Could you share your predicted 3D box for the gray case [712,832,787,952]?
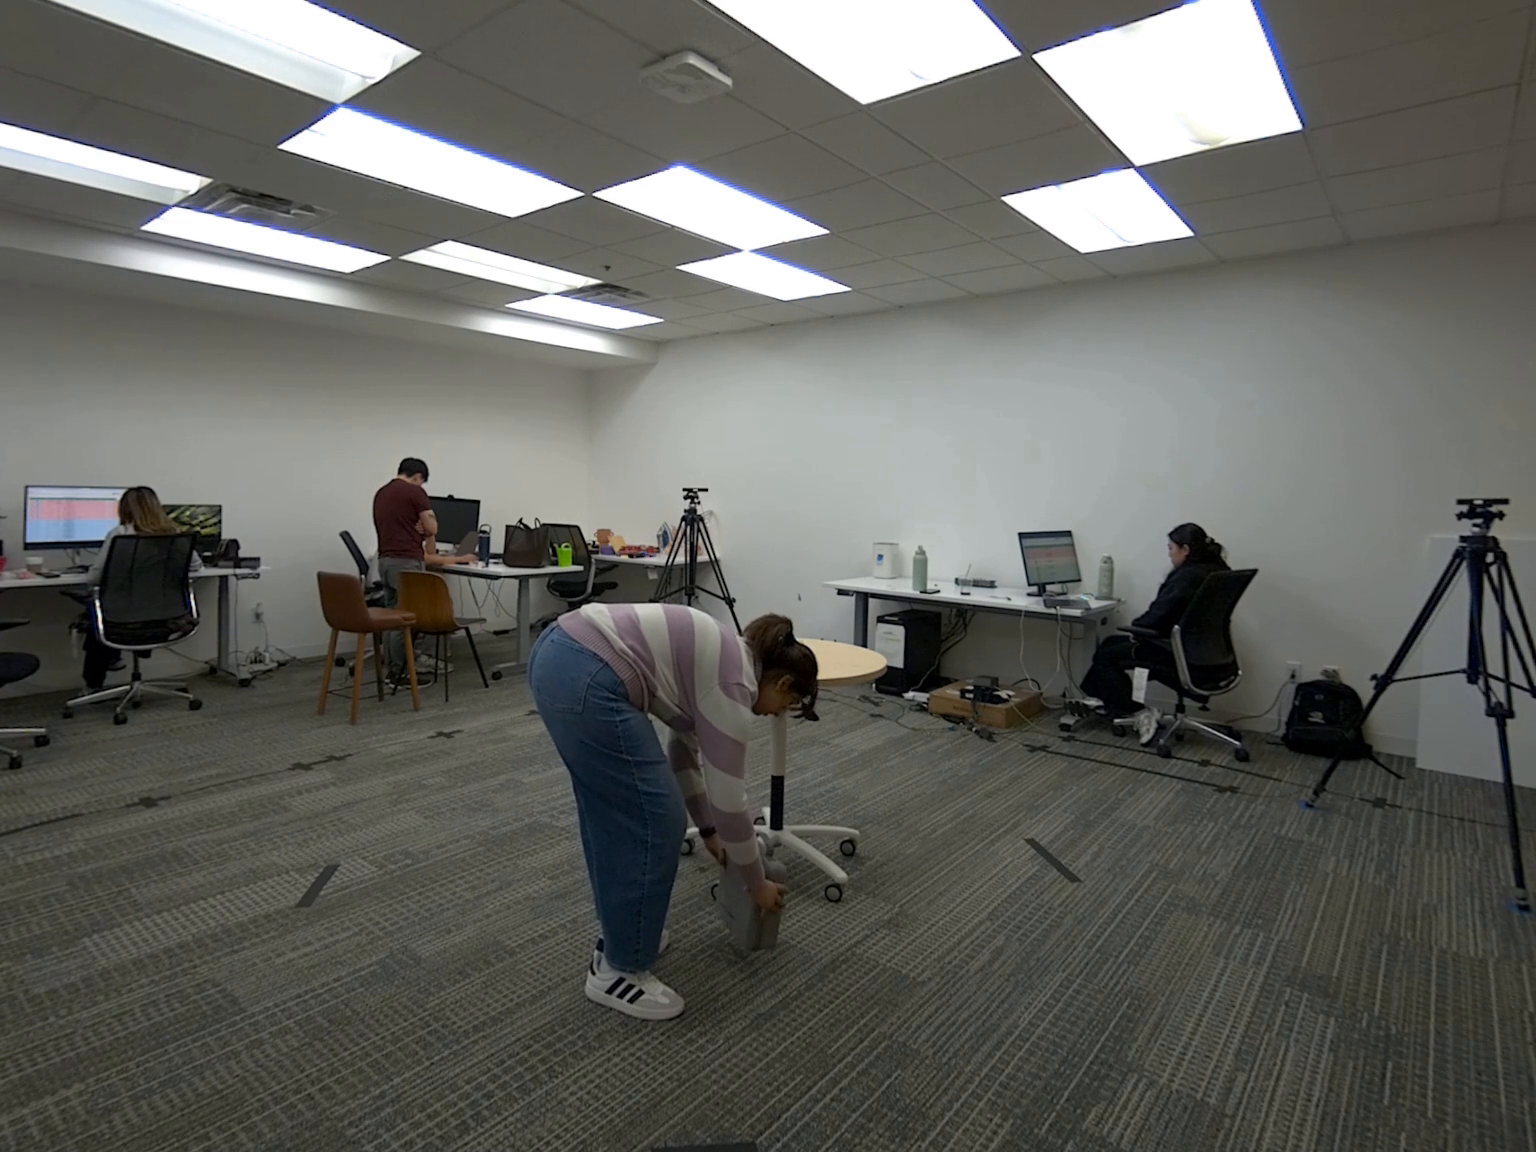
[{"bbox_3d":[-0.060,0.936,2.516,0.101,0.260,0.264,8,4,-25],"label":"gray case"}]
